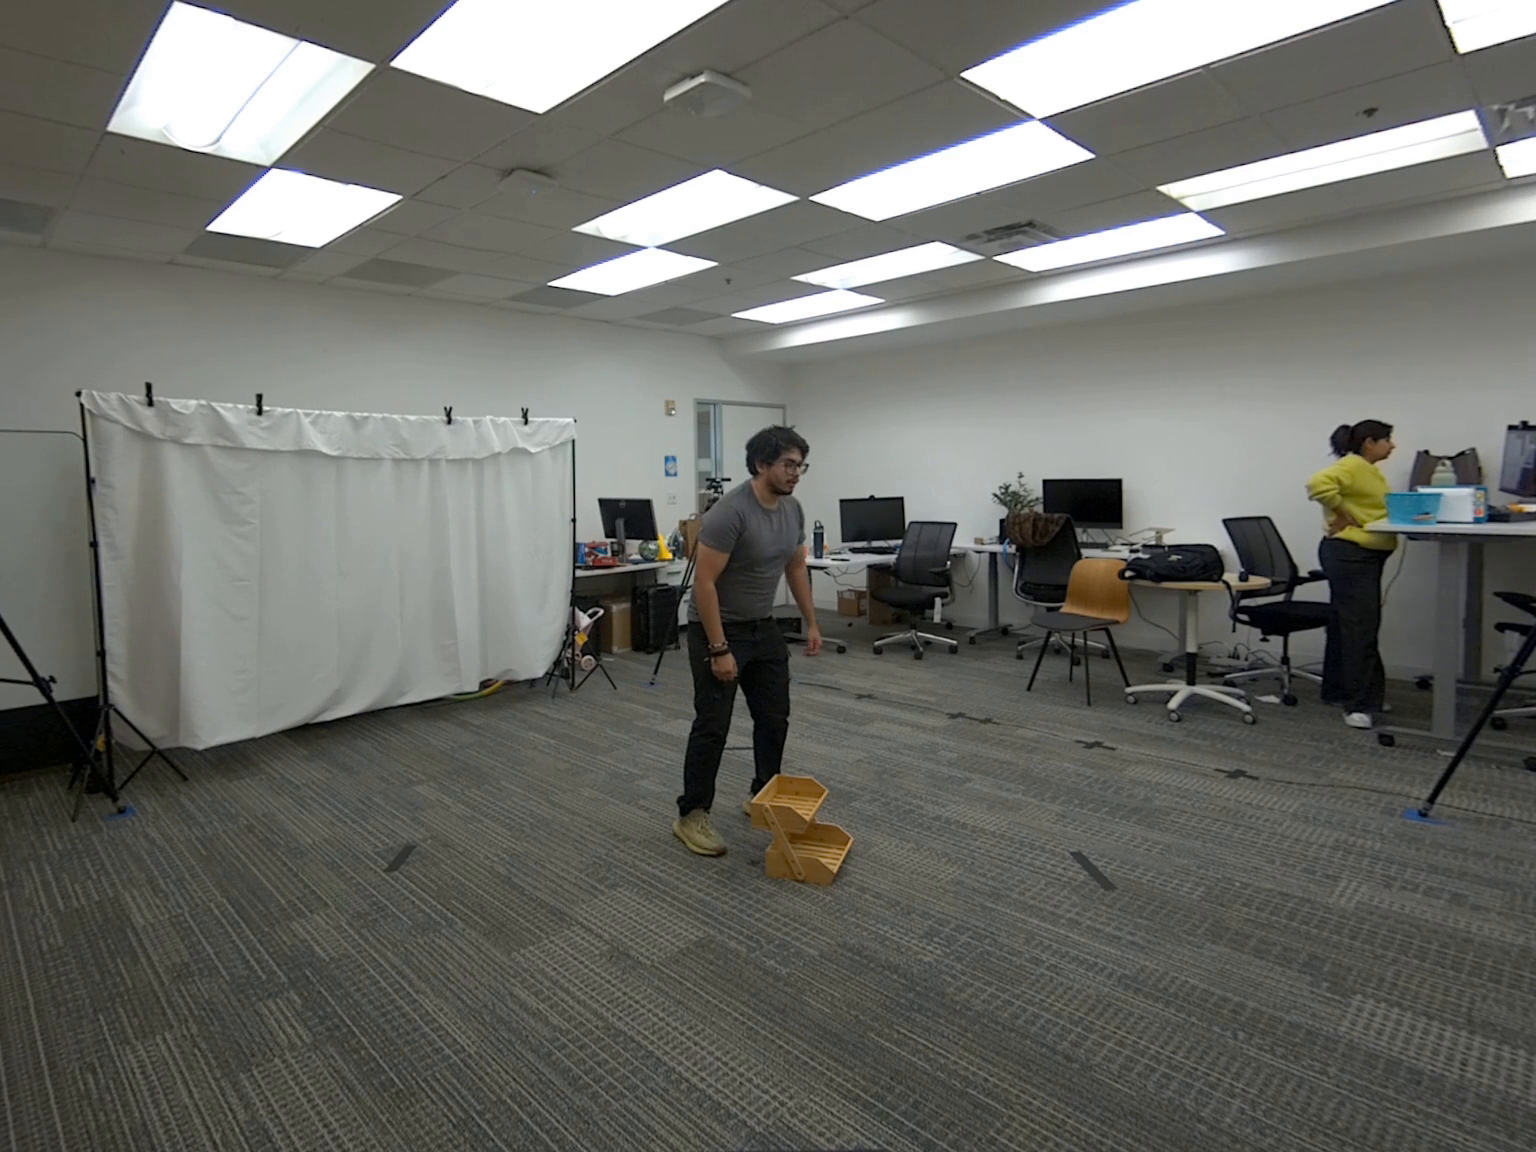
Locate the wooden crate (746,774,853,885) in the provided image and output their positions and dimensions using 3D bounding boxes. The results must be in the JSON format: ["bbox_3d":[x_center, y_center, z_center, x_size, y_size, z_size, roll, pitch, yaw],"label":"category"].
[{"bbox_3d":[0.143,0.912,3.096,0.307,0.272,0.320,1,5,18],"label":"wooden crate"}]
